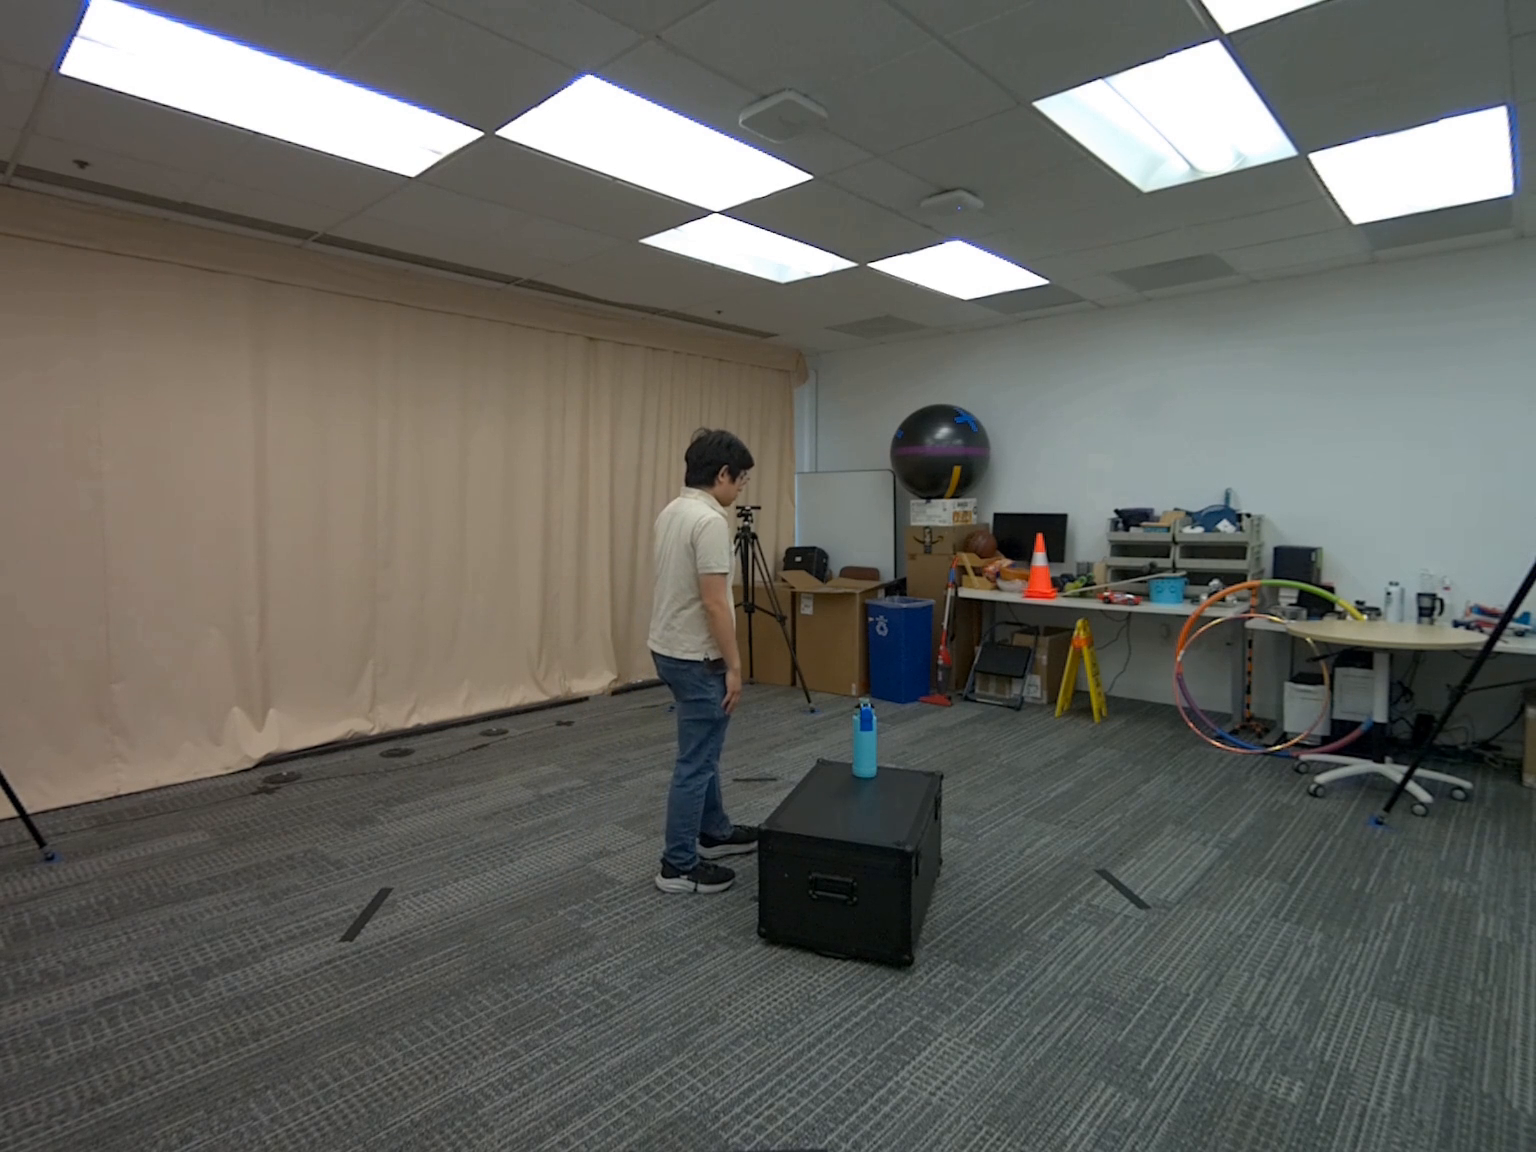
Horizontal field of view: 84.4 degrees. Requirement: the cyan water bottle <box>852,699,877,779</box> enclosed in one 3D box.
[{"bbox_3d":[0.373,0.613,3.181,0.092,0.282,0.093,-1,4,-2],"label":"cyan water bottle"}]
